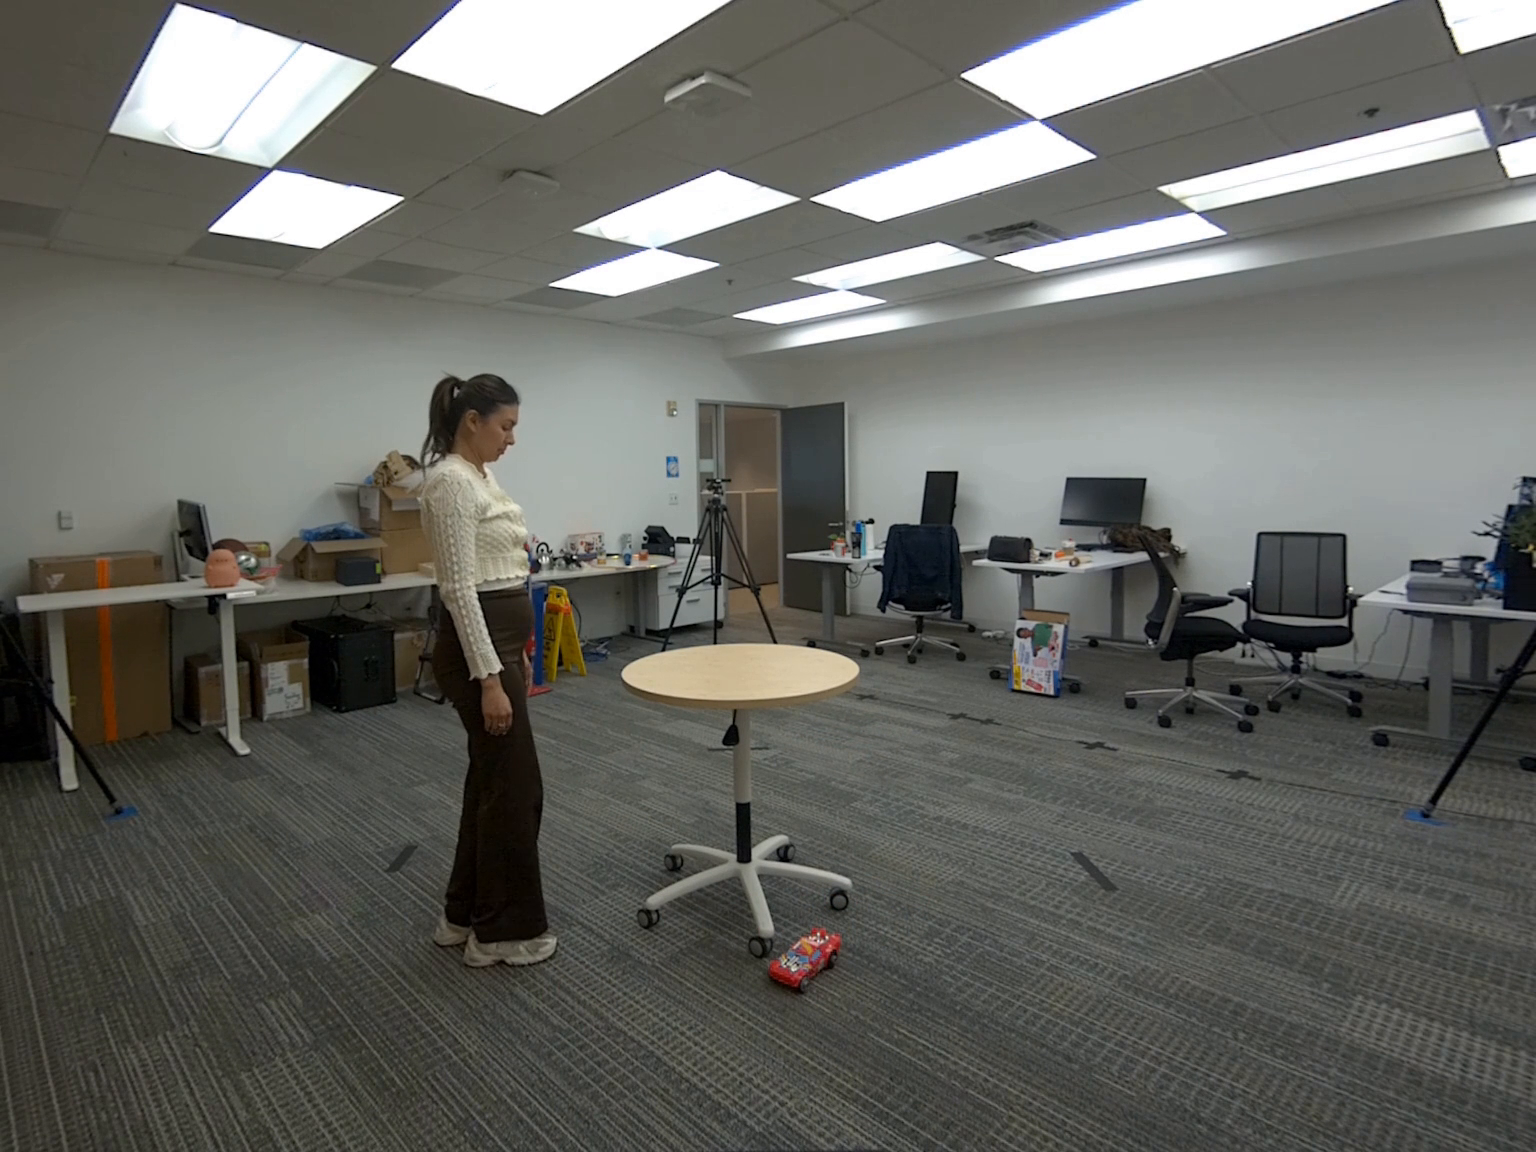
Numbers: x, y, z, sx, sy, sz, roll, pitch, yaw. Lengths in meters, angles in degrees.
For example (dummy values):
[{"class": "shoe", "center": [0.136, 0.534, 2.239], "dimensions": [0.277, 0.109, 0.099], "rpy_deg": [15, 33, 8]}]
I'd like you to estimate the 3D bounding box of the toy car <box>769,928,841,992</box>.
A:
[{"class": "toy car", "center": [0.112, 1.086, 2.425], "dimensions": [0.134, 0.082, 0.250], "rpy_deg": [3, 18, 38]}]
